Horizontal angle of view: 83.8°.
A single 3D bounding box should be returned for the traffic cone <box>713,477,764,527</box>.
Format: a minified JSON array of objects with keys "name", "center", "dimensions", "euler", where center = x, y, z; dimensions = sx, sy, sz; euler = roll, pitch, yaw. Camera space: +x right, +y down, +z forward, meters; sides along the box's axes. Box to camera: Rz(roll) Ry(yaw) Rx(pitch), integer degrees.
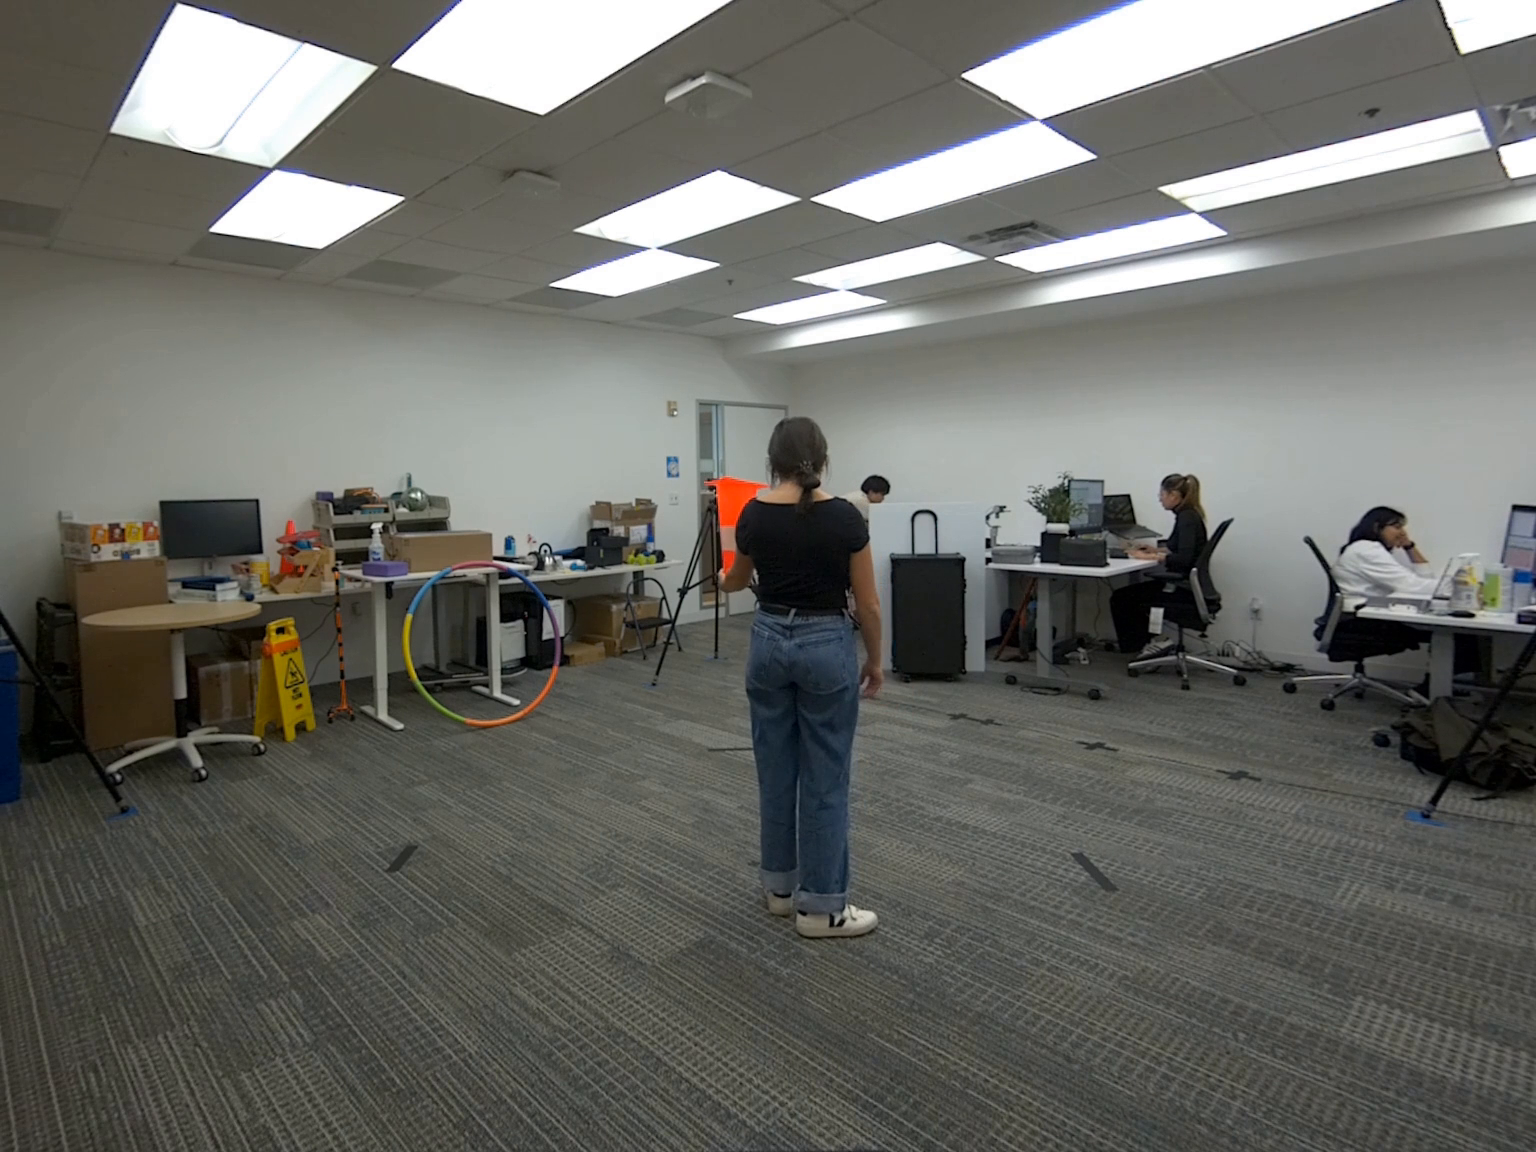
[{"name":"traffic cone","center":[-0.124,-0.151,3.219],"dimensions":[0.201,0.385,0.206],"euler":[5,-5,-19]}]
